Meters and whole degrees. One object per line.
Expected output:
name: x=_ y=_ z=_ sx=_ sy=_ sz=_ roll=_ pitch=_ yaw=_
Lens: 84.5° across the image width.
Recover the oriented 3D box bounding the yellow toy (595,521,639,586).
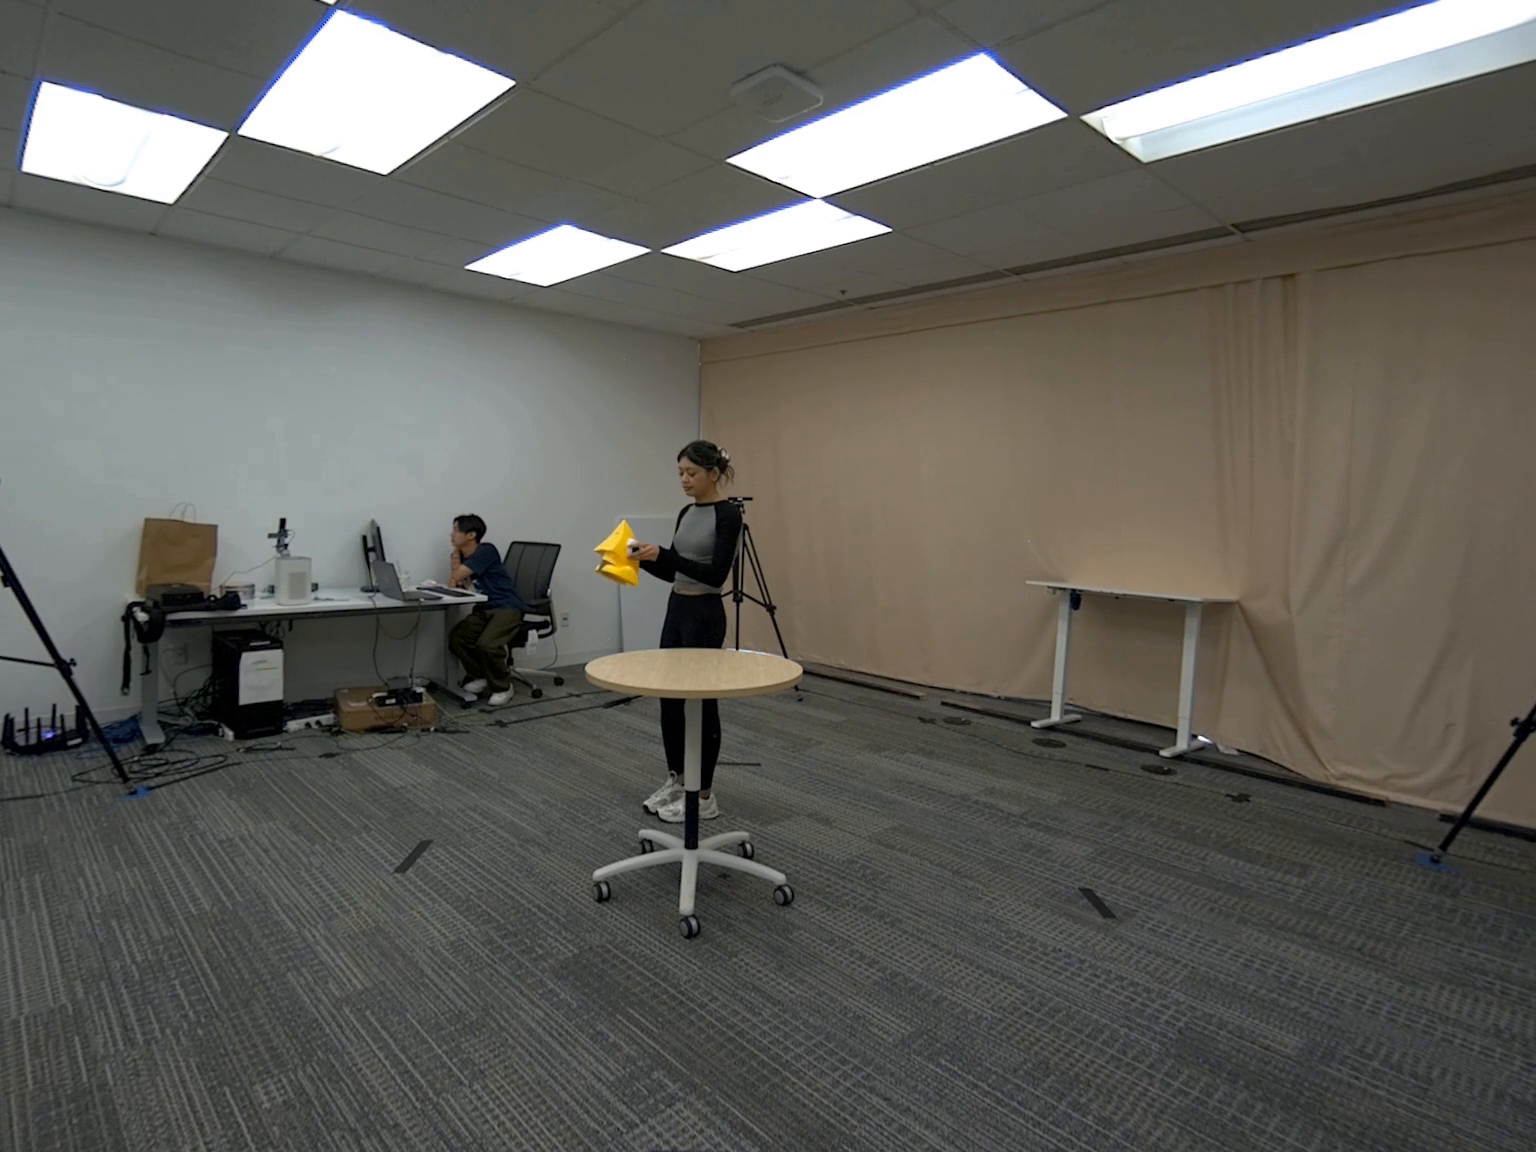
yellow toy: x=-0.595 y=-0.098 z=3.430 sx=0.188 sy=0.232 sz=0.209 roll=28 pitch=-12 yaw=-27
